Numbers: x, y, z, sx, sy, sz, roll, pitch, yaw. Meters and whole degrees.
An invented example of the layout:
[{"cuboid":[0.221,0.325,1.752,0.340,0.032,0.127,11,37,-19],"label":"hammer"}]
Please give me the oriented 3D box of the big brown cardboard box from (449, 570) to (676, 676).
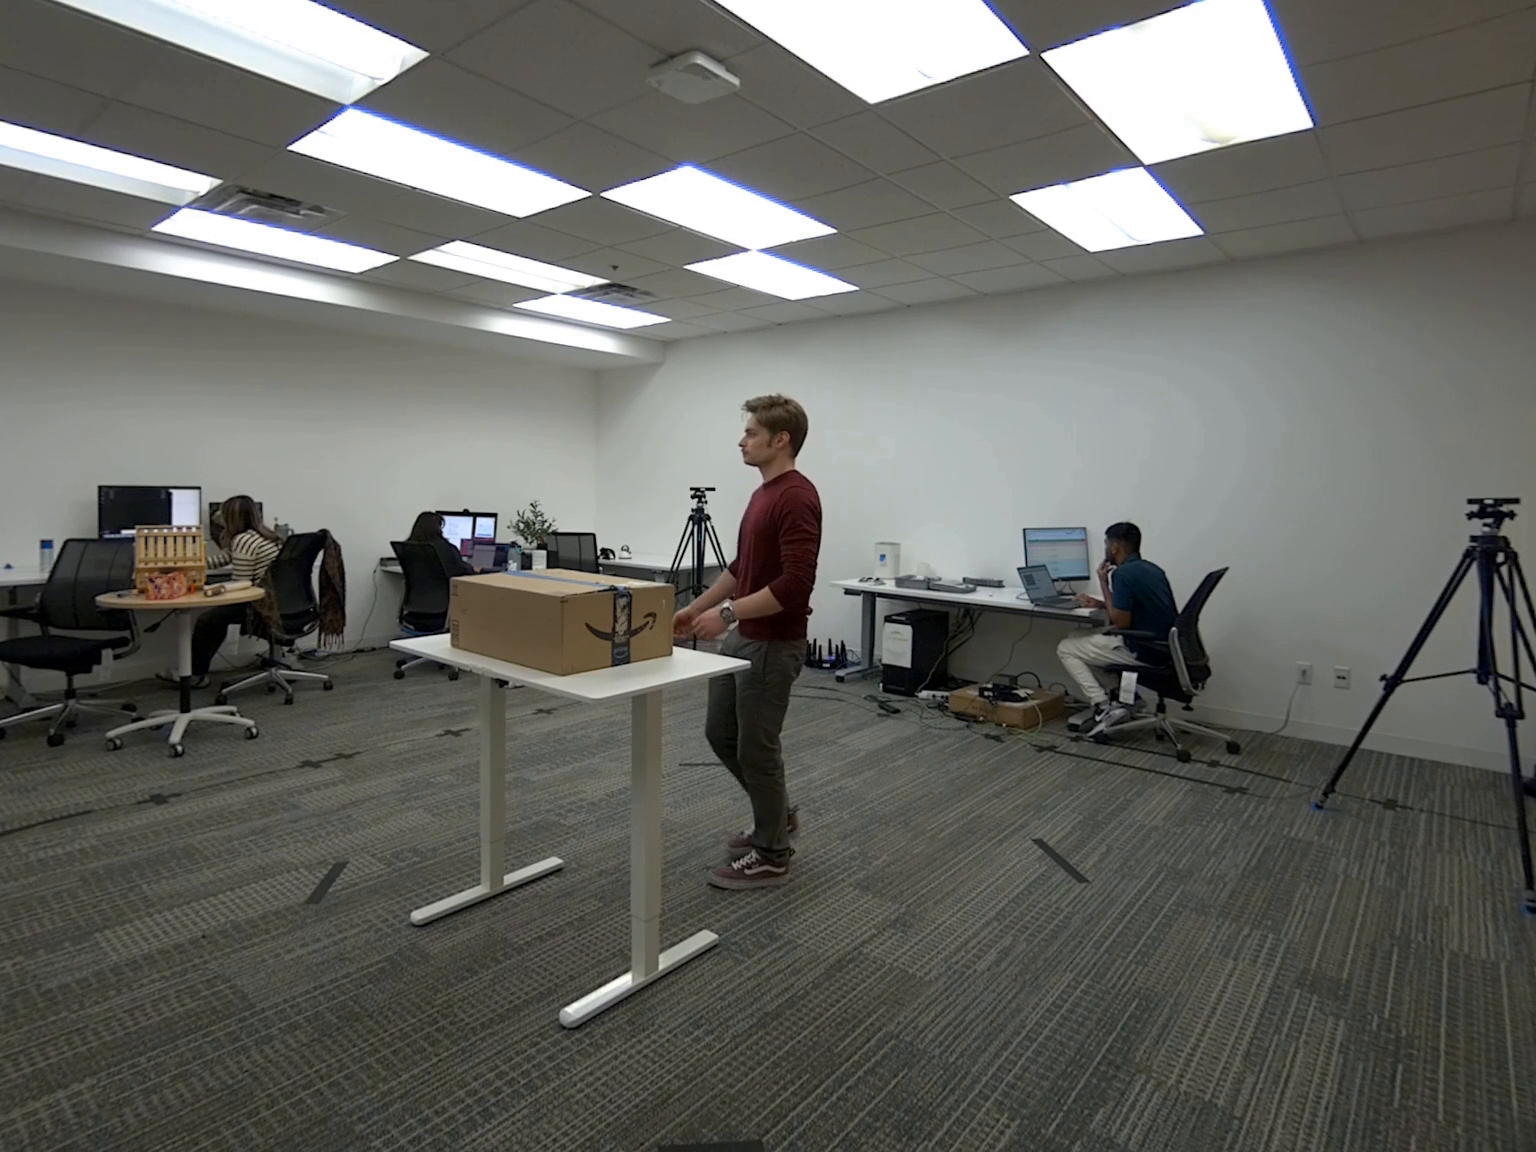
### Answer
[{"cuboid":[-0.640,0.120,2.587,0.609,0.232,0.405,5,7,40],"label":"big brown cardboard box"}]
